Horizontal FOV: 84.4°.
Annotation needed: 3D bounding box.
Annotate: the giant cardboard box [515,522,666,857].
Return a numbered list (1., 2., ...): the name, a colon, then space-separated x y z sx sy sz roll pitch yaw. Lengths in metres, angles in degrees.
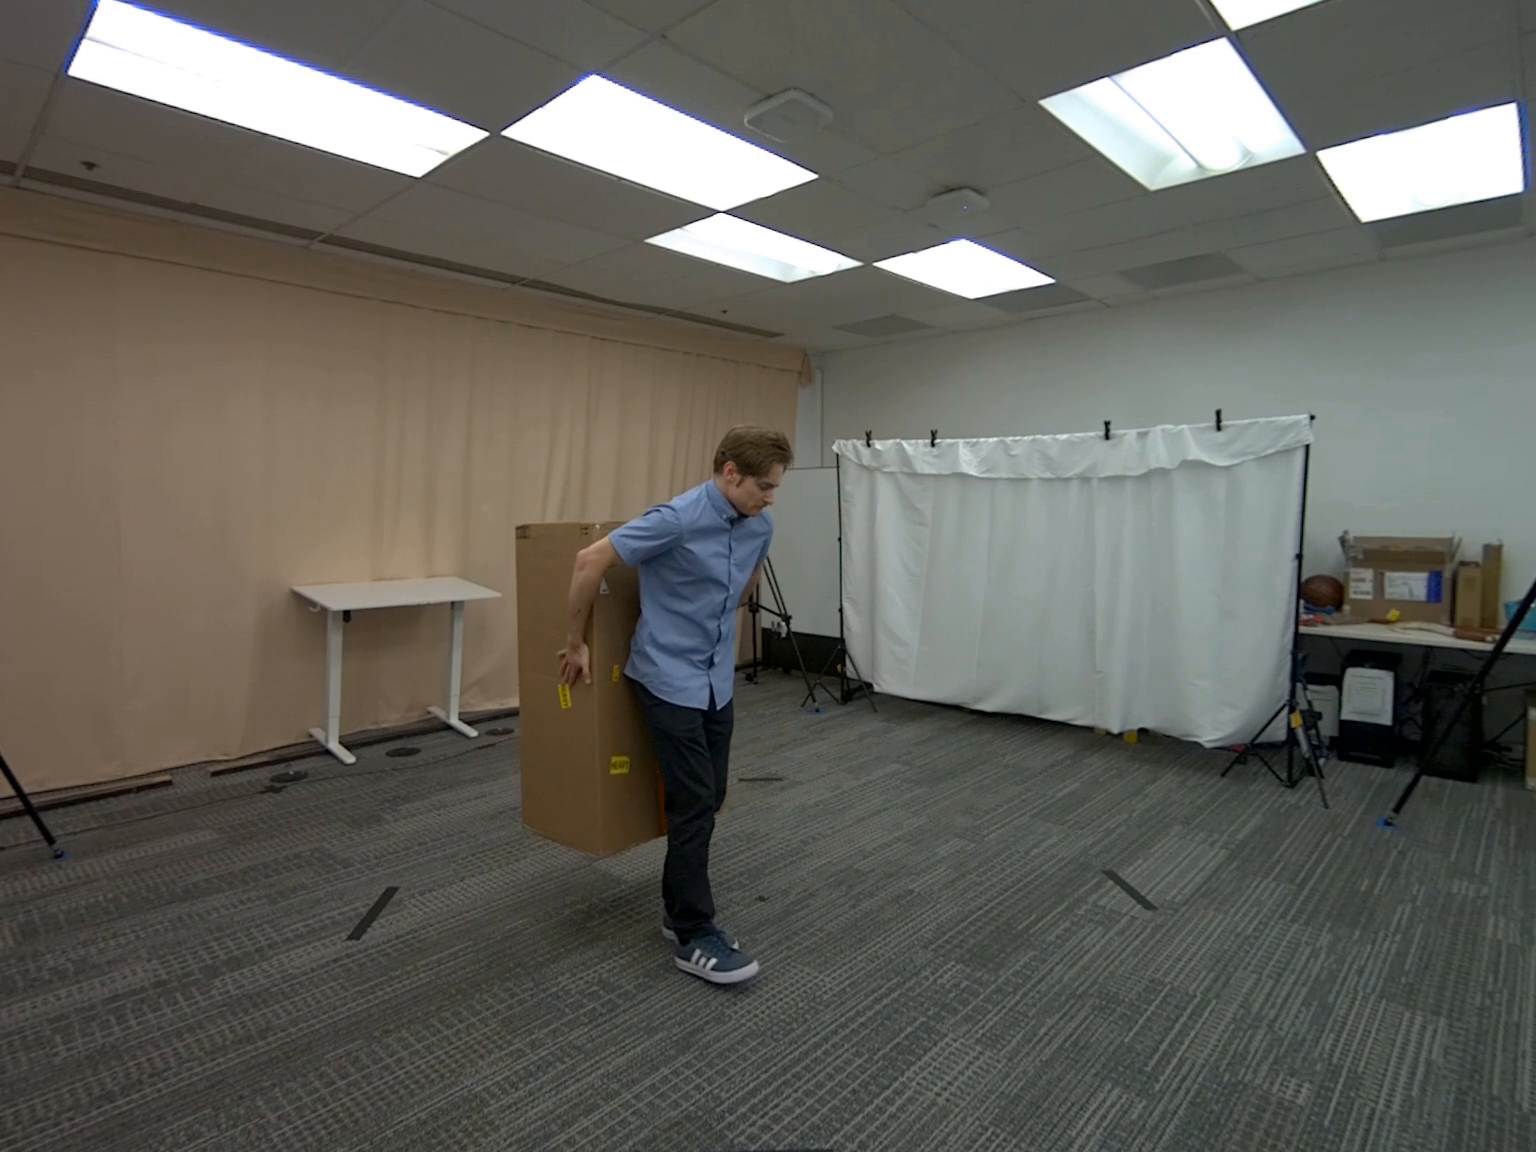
1. giant cardboard box: -0.494 0.331 2.879 0.461 1.026 0.566 -1 1 42
